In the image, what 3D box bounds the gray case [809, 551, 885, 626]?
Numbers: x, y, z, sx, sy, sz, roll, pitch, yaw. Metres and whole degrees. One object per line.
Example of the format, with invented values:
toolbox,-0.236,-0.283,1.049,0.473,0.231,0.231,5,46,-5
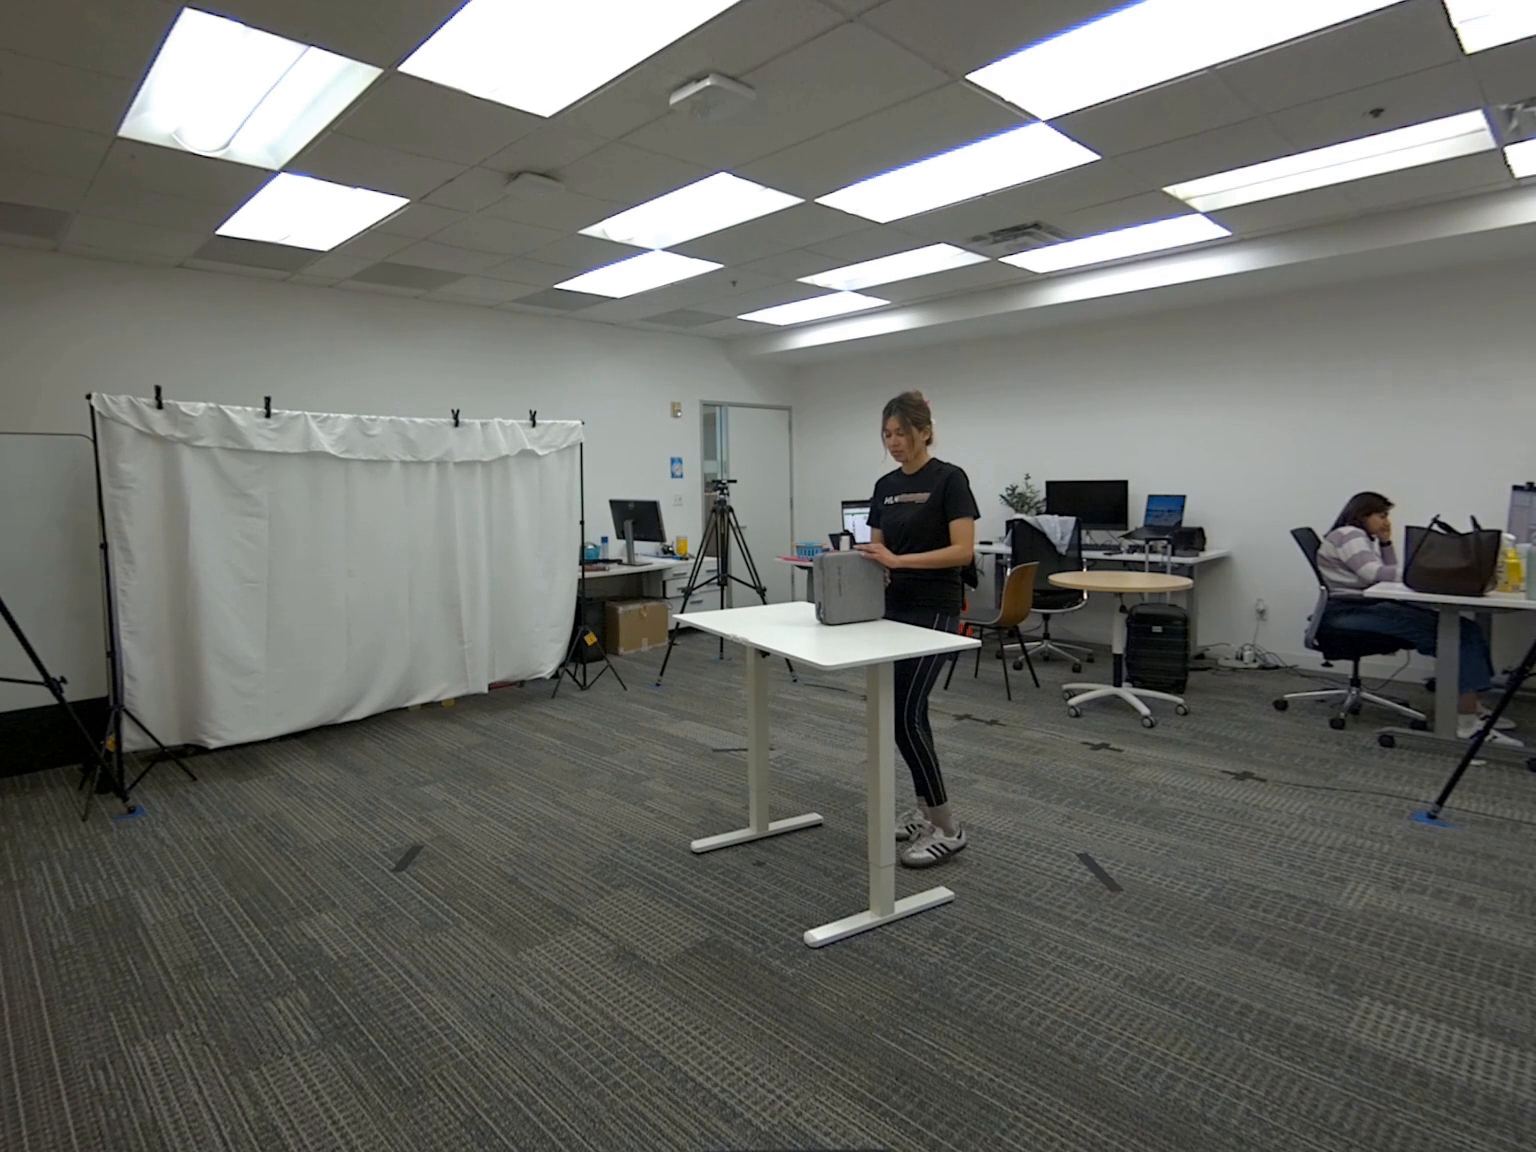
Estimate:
gray case,0.291,0.032,3.047,0.255,0.256,0.107,-4,3,-27
